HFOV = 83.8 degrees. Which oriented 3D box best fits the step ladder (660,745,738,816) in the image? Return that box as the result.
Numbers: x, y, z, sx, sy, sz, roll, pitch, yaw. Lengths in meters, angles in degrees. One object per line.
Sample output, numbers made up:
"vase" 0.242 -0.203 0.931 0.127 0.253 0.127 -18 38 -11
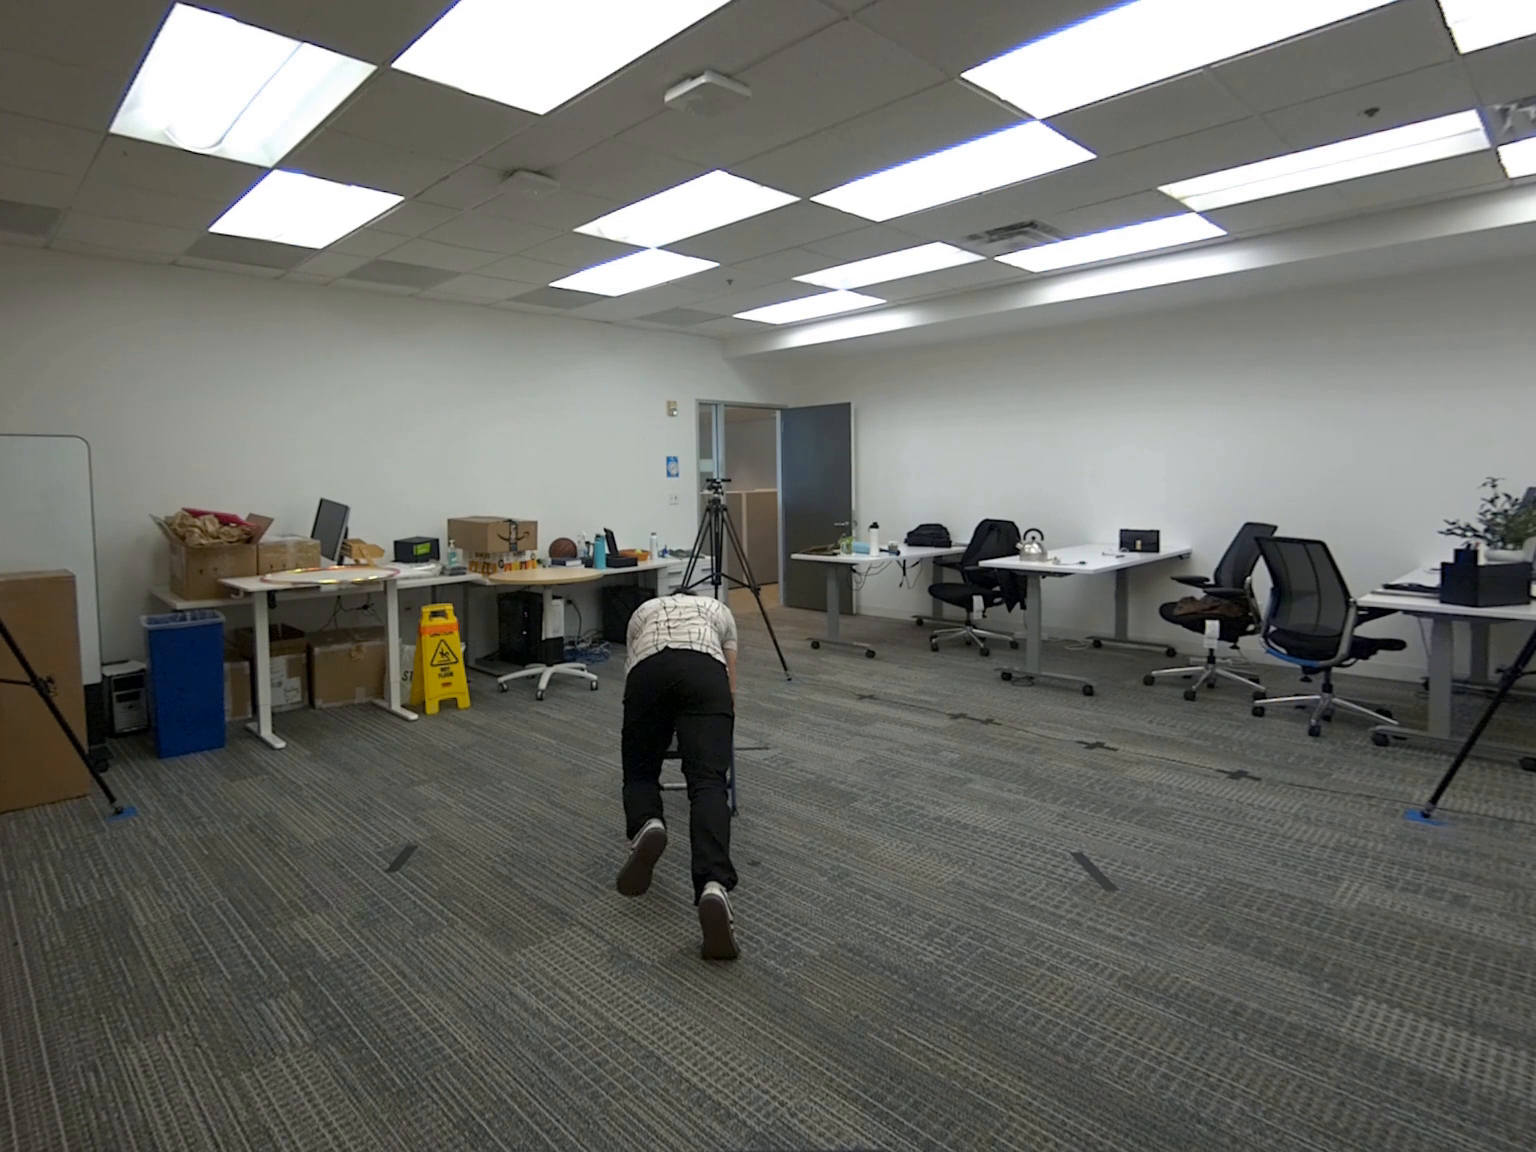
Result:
"step ladder" -0.352 0.685 3.699 0.430 0.603 0.351 -1 5 -3
